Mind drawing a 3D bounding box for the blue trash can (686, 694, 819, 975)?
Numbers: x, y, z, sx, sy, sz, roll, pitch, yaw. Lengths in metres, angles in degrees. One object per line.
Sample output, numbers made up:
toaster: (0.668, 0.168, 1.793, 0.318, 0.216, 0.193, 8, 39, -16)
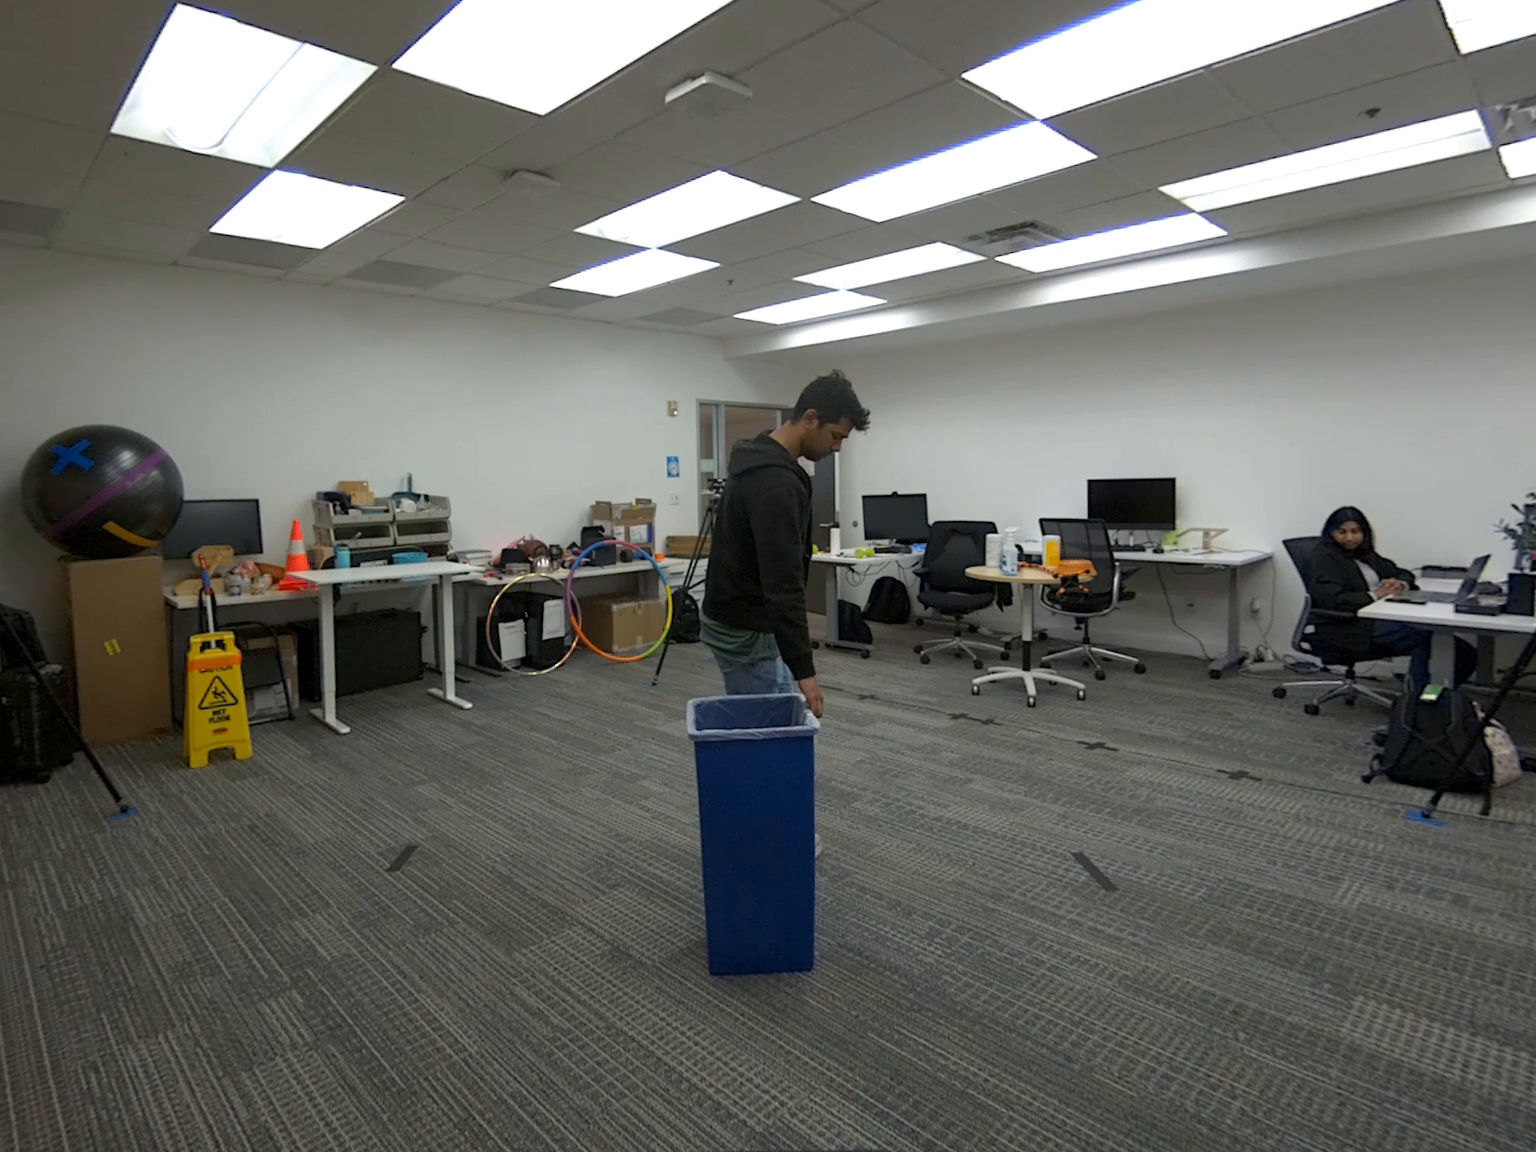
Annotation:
blue trash can: (-0.043, 0.752, 2.545, 0.377, 0.710, 0.377, -3, 5, -5)
